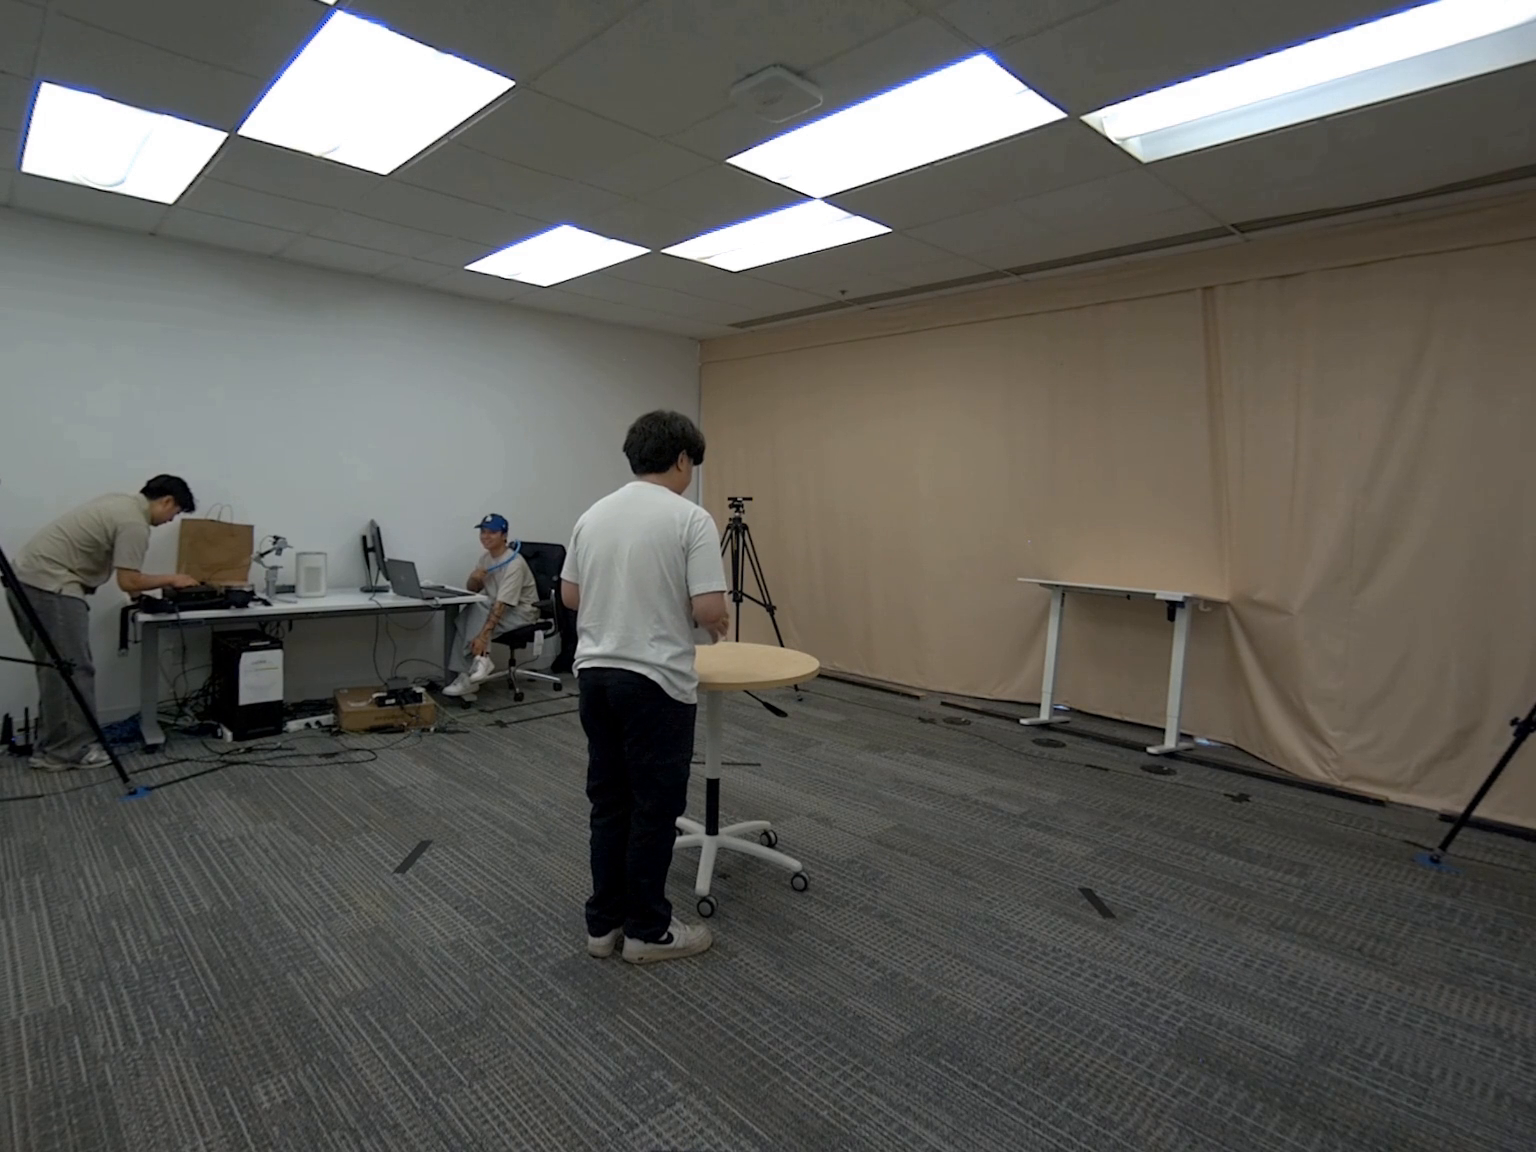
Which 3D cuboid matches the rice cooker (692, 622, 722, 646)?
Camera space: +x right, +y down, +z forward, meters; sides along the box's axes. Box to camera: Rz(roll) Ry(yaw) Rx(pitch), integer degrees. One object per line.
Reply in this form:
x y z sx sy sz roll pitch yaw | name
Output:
-0.245 0.113 2.805 0.219 0.232 0.219 1 3 -9 | rice cooker
